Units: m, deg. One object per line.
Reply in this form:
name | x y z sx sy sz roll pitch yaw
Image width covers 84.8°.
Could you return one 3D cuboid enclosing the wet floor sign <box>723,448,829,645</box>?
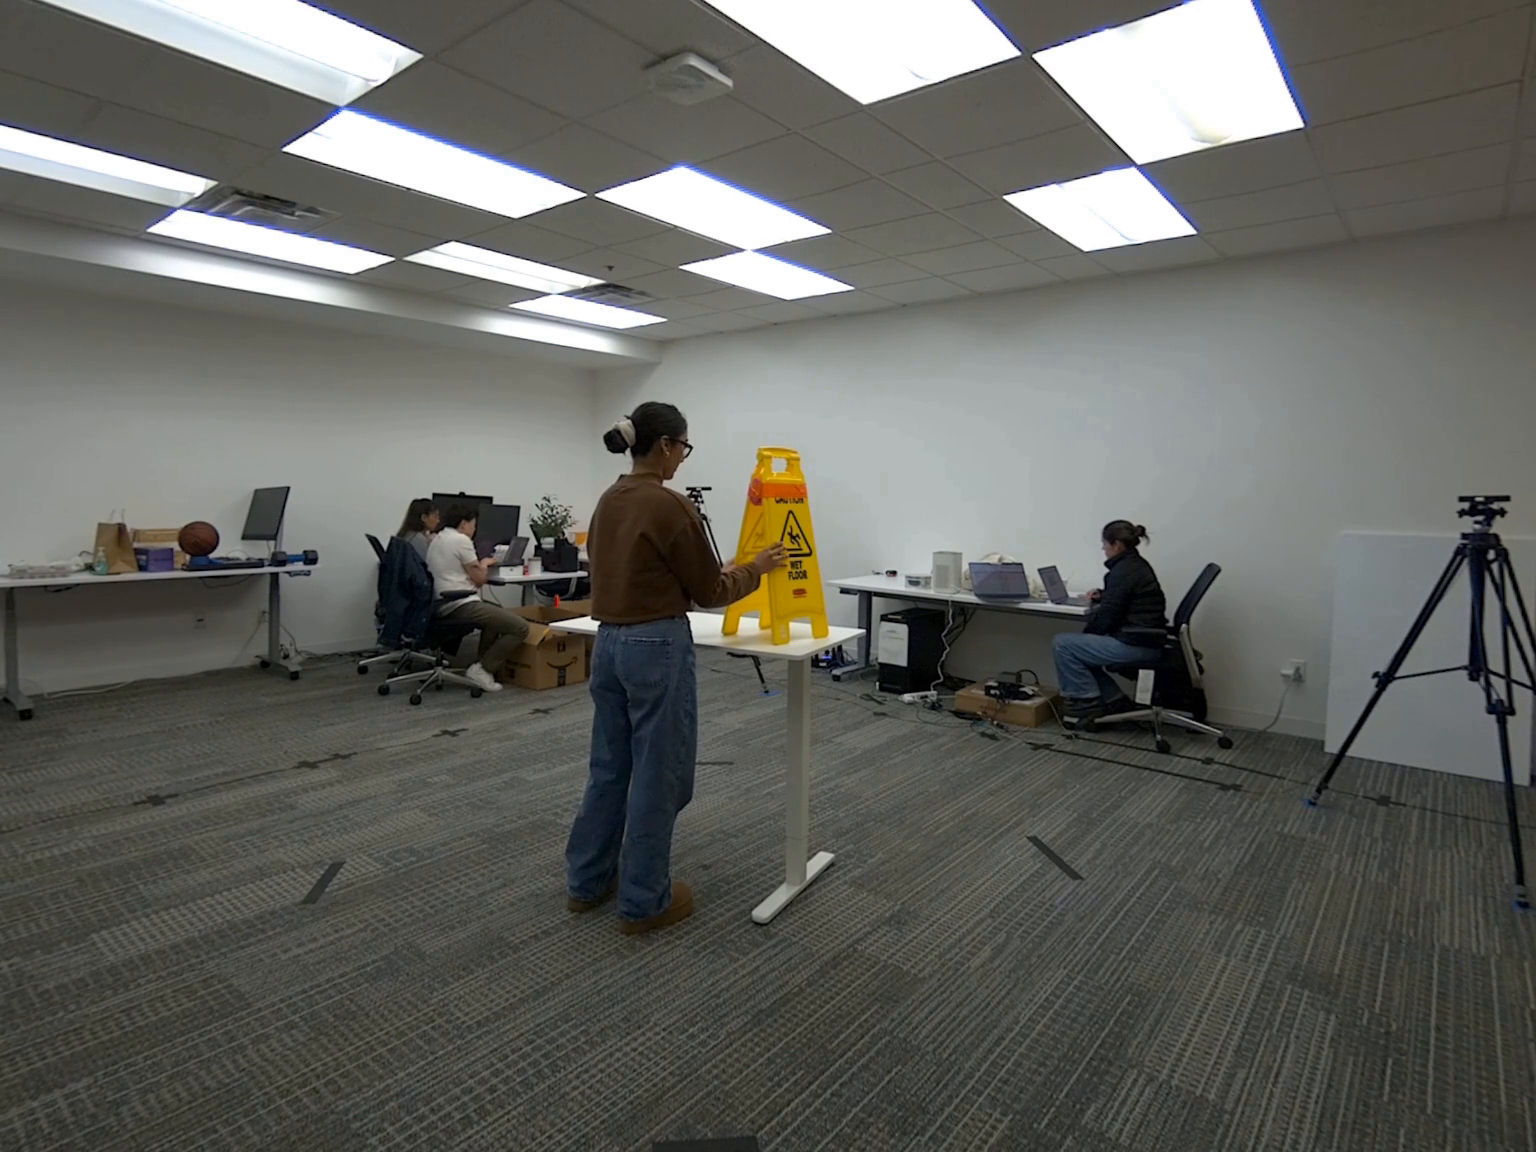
wet floor sign | 0.019 -0.118 2.933 0.299 0.645 0.273 3 3 42
